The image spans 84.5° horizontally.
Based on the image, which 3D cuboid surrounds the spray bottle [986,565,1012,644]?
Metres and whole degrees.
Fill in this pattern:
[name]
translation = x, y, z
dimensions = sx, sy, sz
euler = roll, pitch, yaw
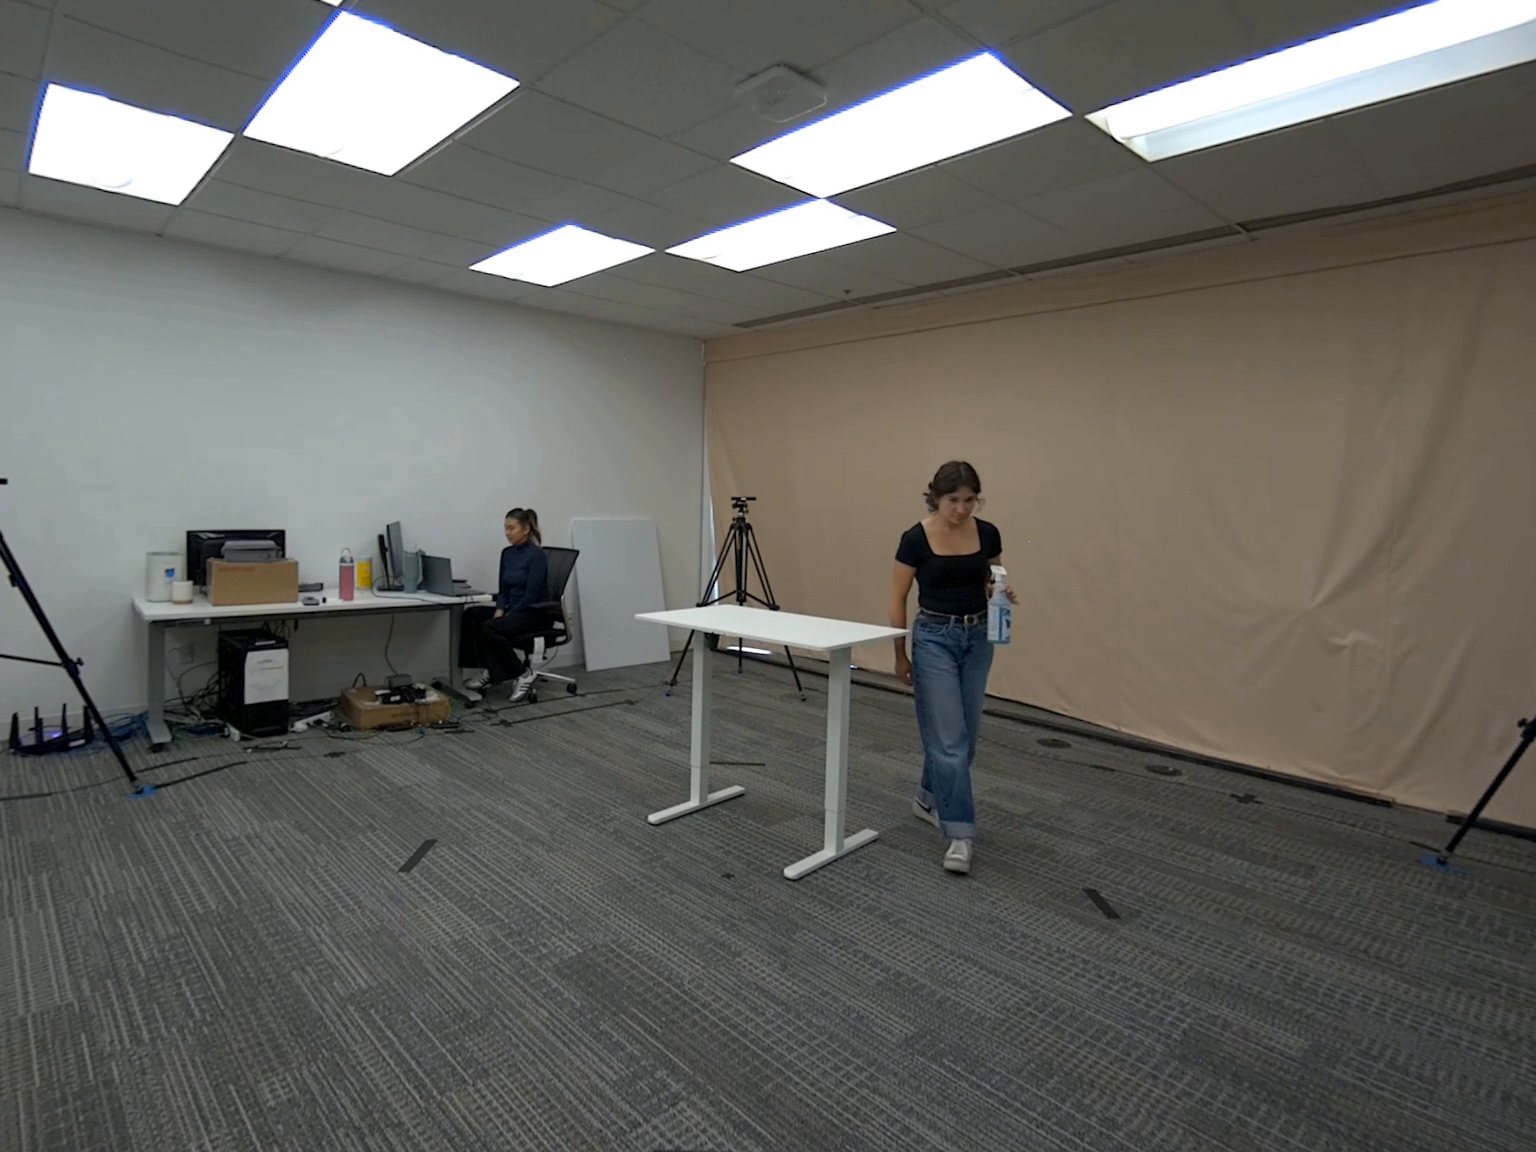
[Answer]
[spray bottle]
translation = 0.879, 0.108, 3.244
dimensions = 0.087, 0.297, 0.089
euler = 1, 0, 7
